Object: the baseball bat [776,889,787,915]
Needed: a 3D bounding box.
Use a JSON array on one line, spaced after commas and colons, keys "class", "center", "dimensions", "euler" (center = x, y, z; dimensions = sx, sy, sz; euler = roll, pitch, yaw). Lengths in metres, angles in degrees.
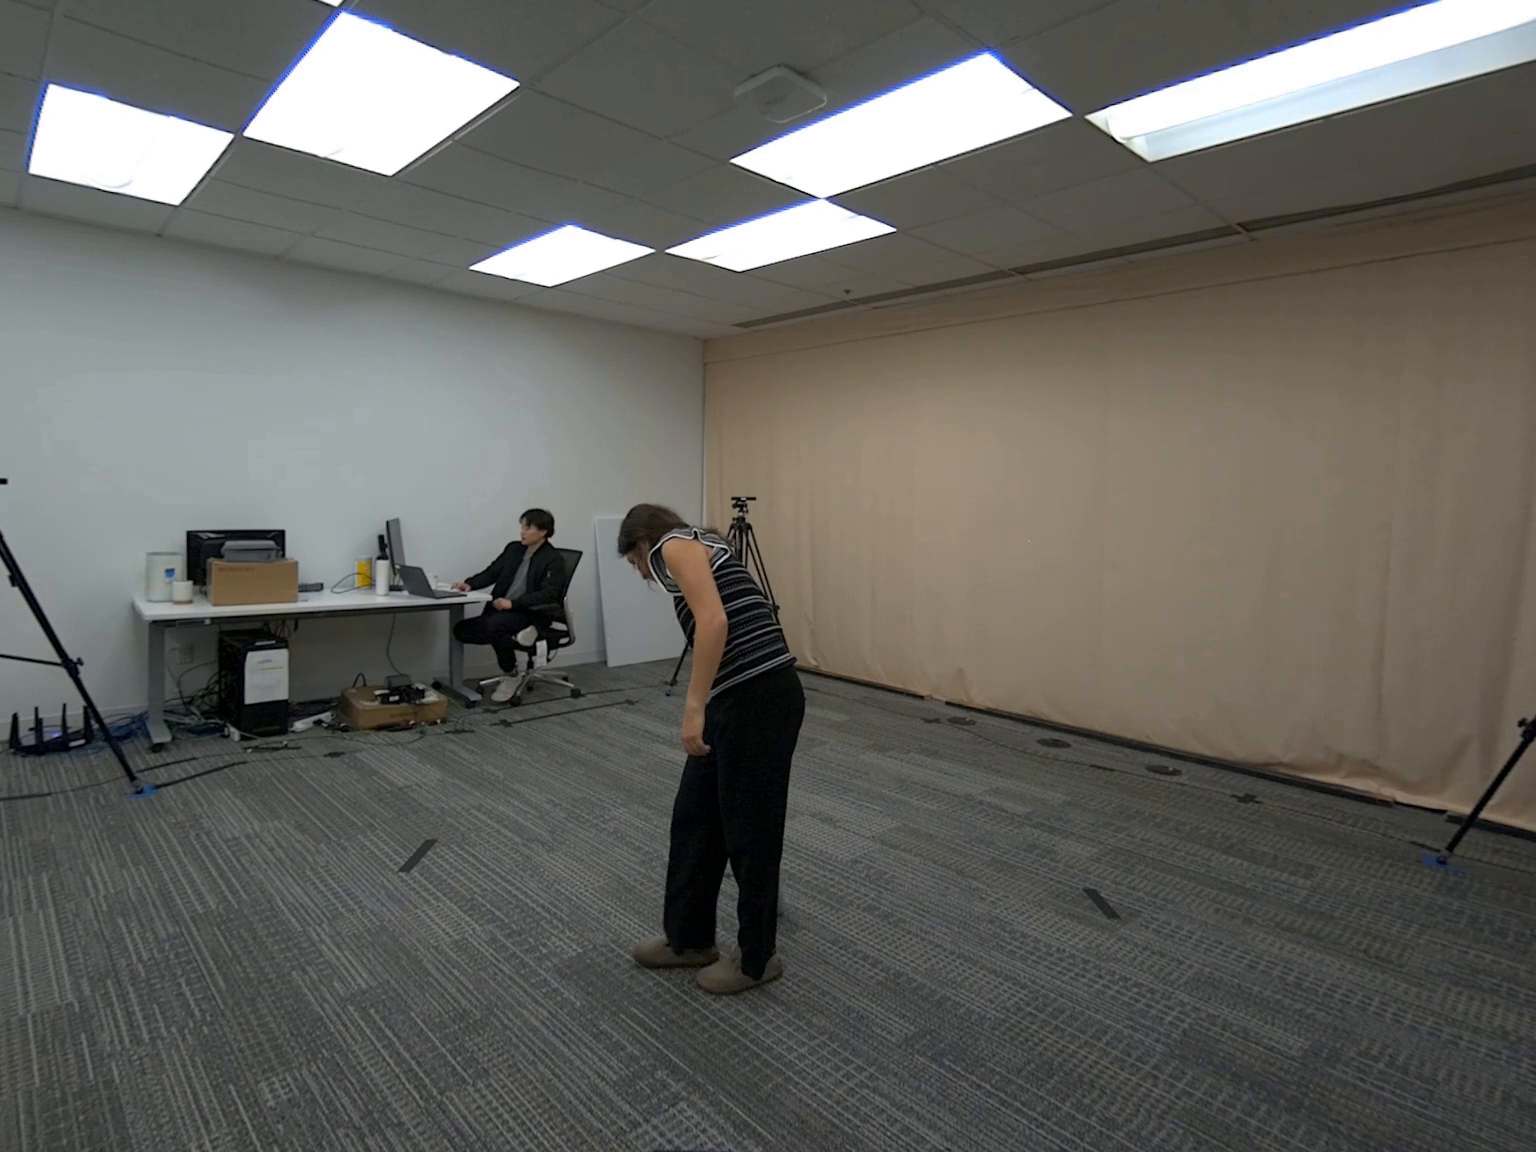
[{"class": "baseball bat", "center": [-0.028, 0.907, 2.700], "dimensions": [0.089, 0.530, 0.091], "euler": [-8, 33, 4]}]
